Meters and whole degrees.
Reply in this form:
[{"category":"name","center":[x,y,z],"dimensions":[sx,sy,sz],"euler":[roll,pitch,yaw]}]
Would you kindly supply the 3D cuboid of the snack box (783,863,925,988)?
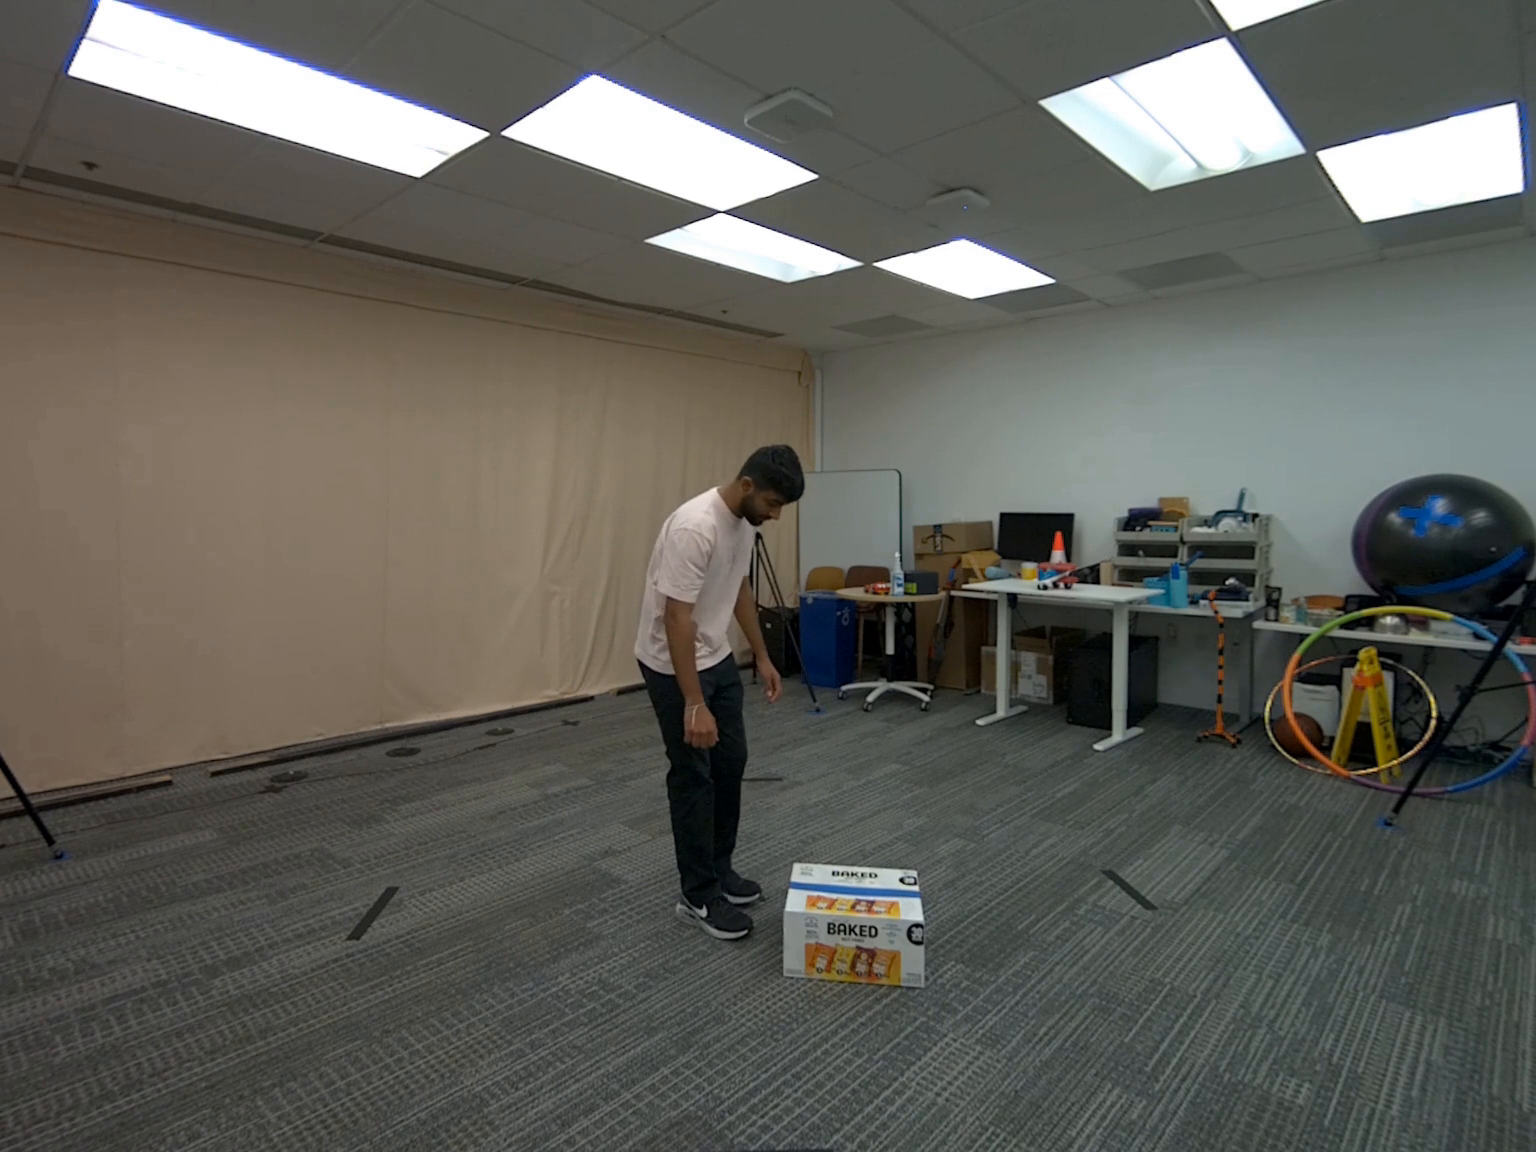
[{"category":"snack box","center":[0.272,1.075,2.605],"dimensions":[0.409,0.205,0.338],"euler":[0,4,8]}]
